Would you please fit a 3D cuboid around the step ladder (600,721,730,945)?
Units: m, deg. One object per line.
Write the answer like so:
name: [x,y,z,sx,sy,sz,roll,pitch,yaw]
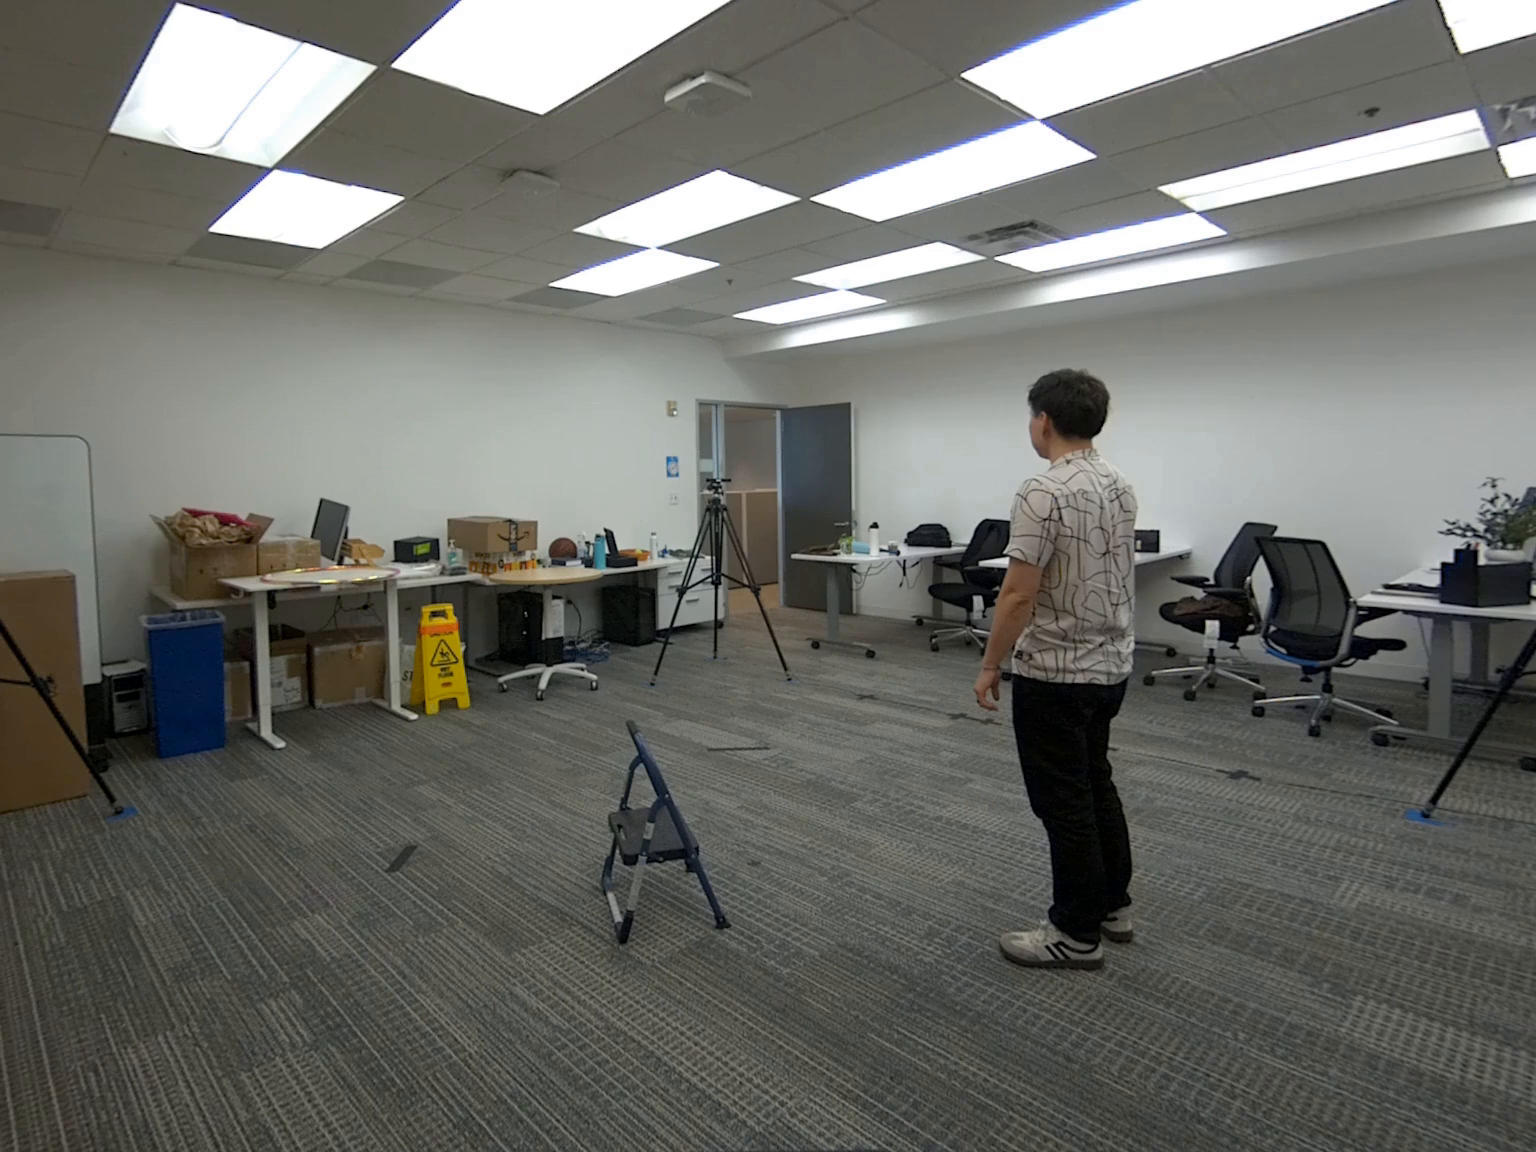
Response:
step ladder: [-0.357,0.783,2.802,0.344,0.604,0.439,-3,5,-18]
